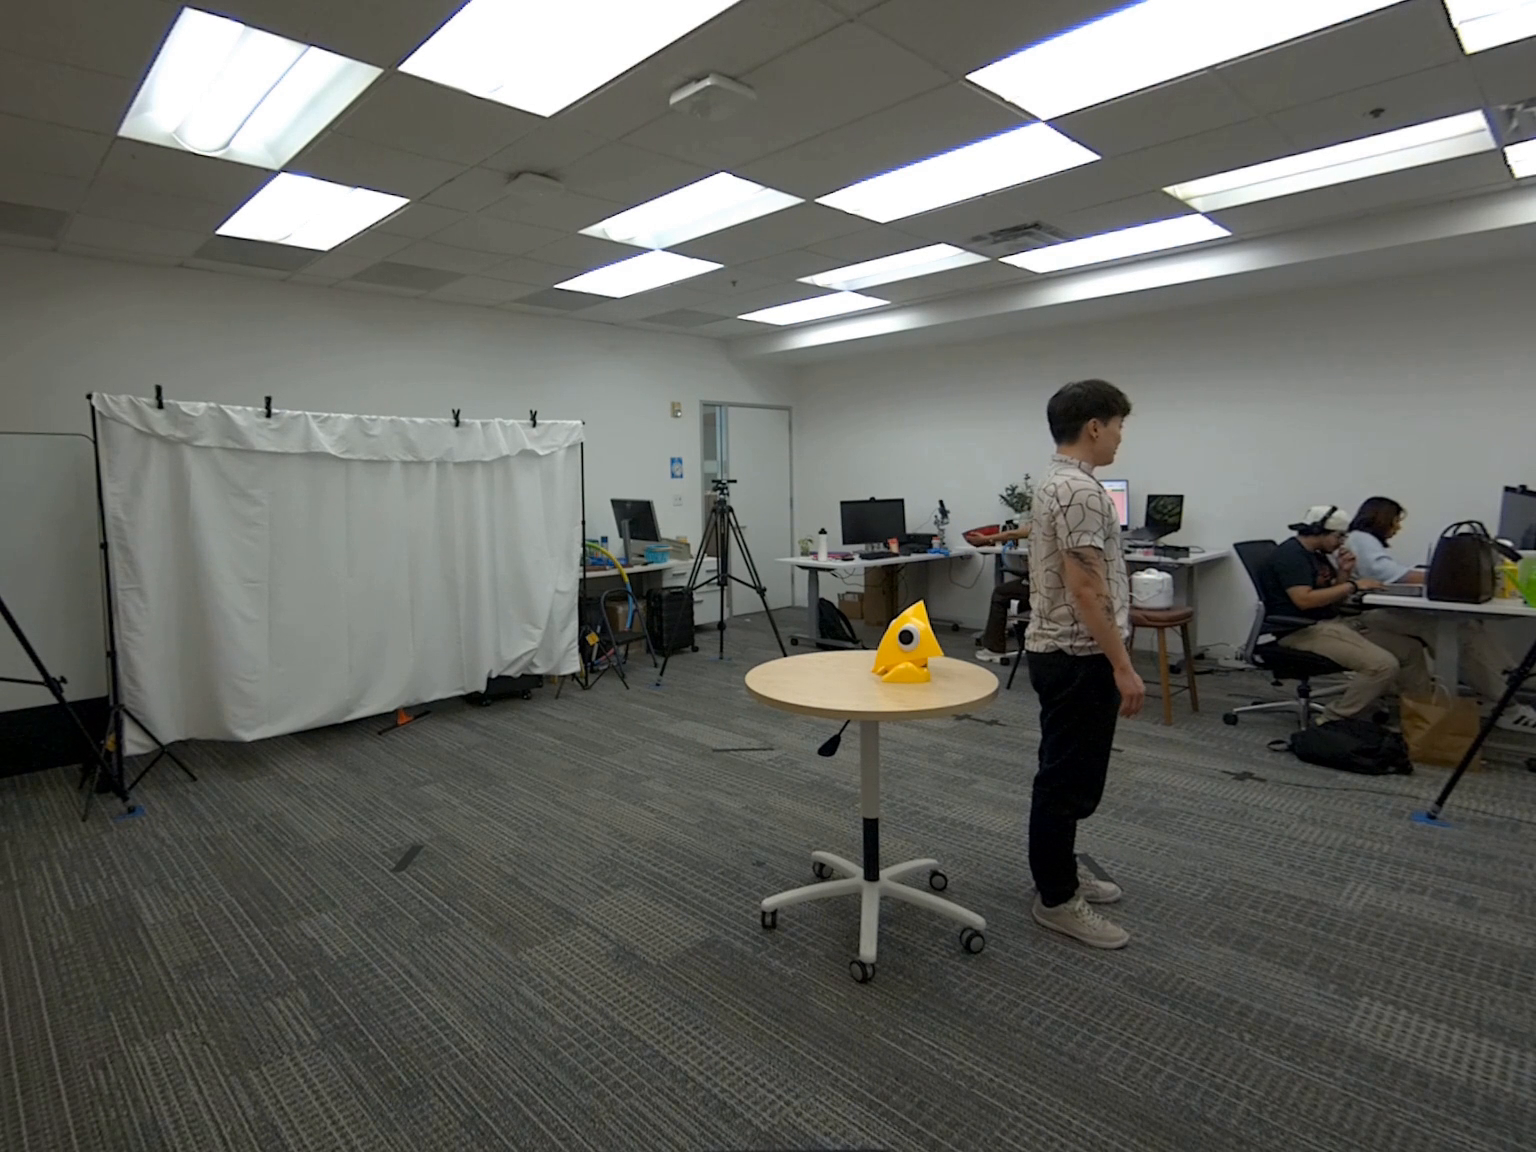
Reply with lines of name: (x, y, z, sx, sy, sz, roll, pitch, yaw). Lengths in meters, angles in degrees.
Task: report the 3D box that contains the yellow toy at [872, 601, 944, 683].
yellow toy: (0.430, 0.194, 2.633, 0.192, 0.230, 0.207, -2, 5, -7)
